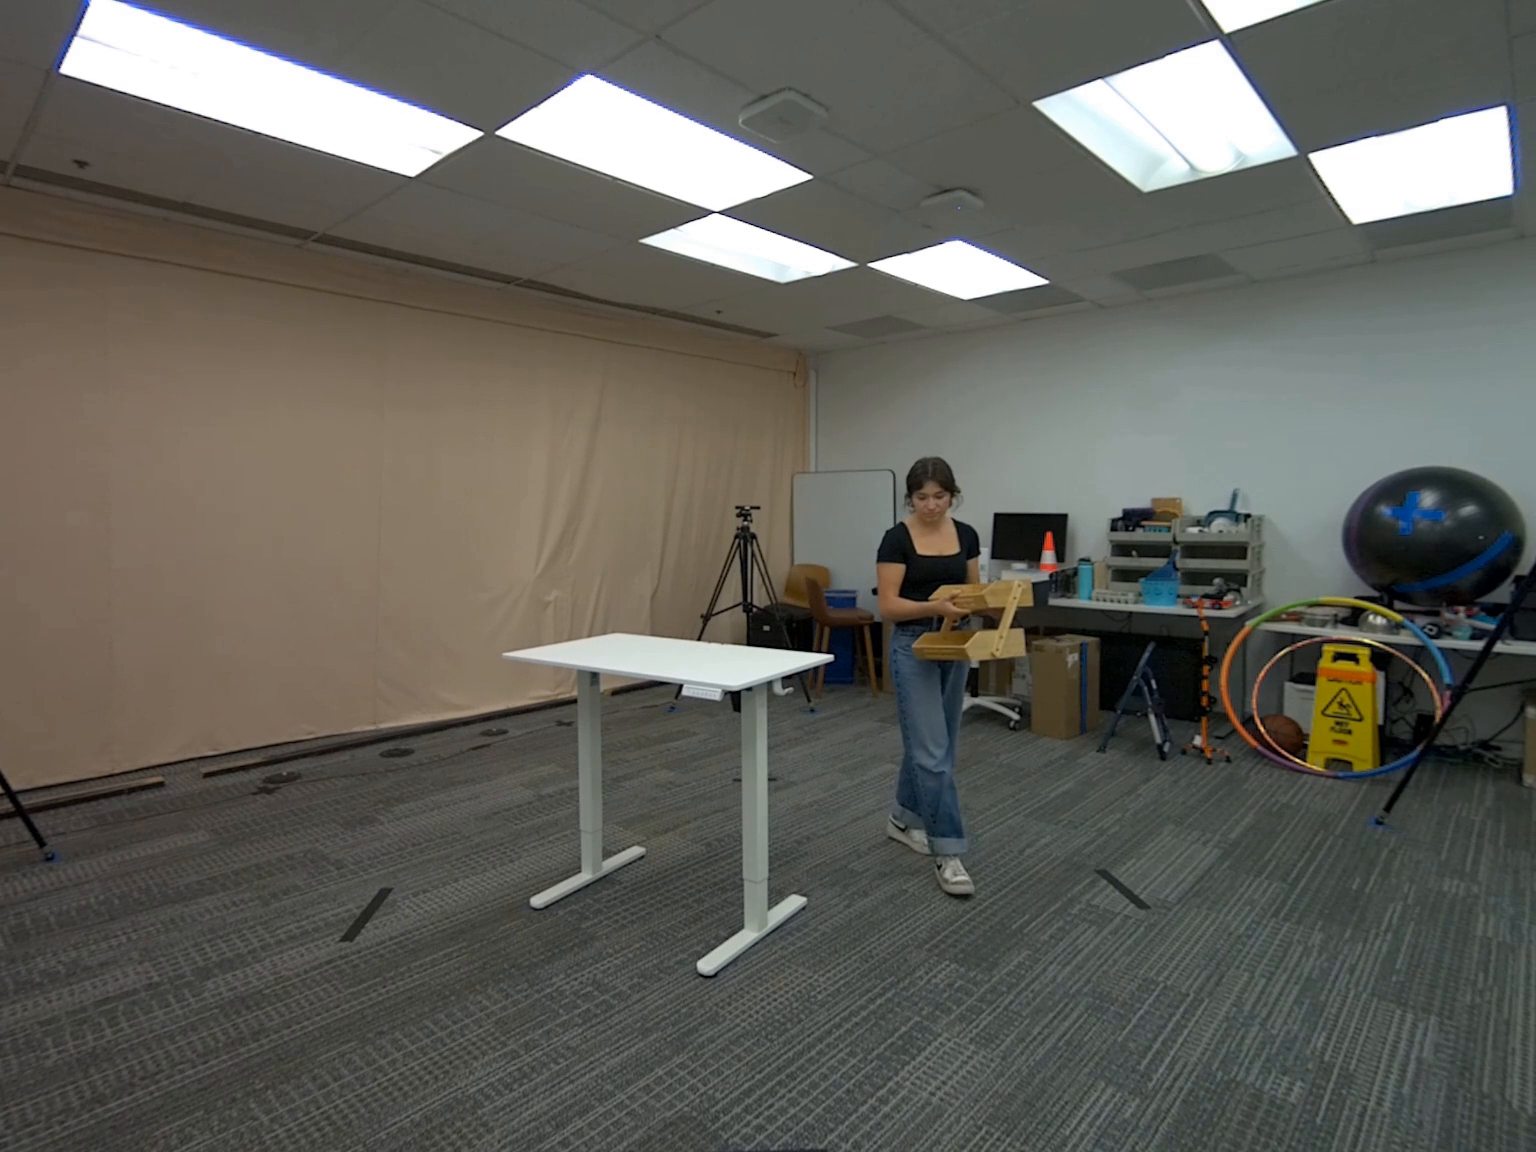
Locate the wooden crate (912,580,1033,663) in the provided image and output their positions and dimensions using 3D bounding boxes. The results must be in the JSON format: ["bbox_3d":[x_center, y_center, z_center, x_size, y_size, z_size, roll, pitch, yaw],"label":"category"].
[{"bbox_3d":[0.696,0.148,2.963,0.295,0.274,0.331,0,-5,-25],"label":"wooden crate"}]
